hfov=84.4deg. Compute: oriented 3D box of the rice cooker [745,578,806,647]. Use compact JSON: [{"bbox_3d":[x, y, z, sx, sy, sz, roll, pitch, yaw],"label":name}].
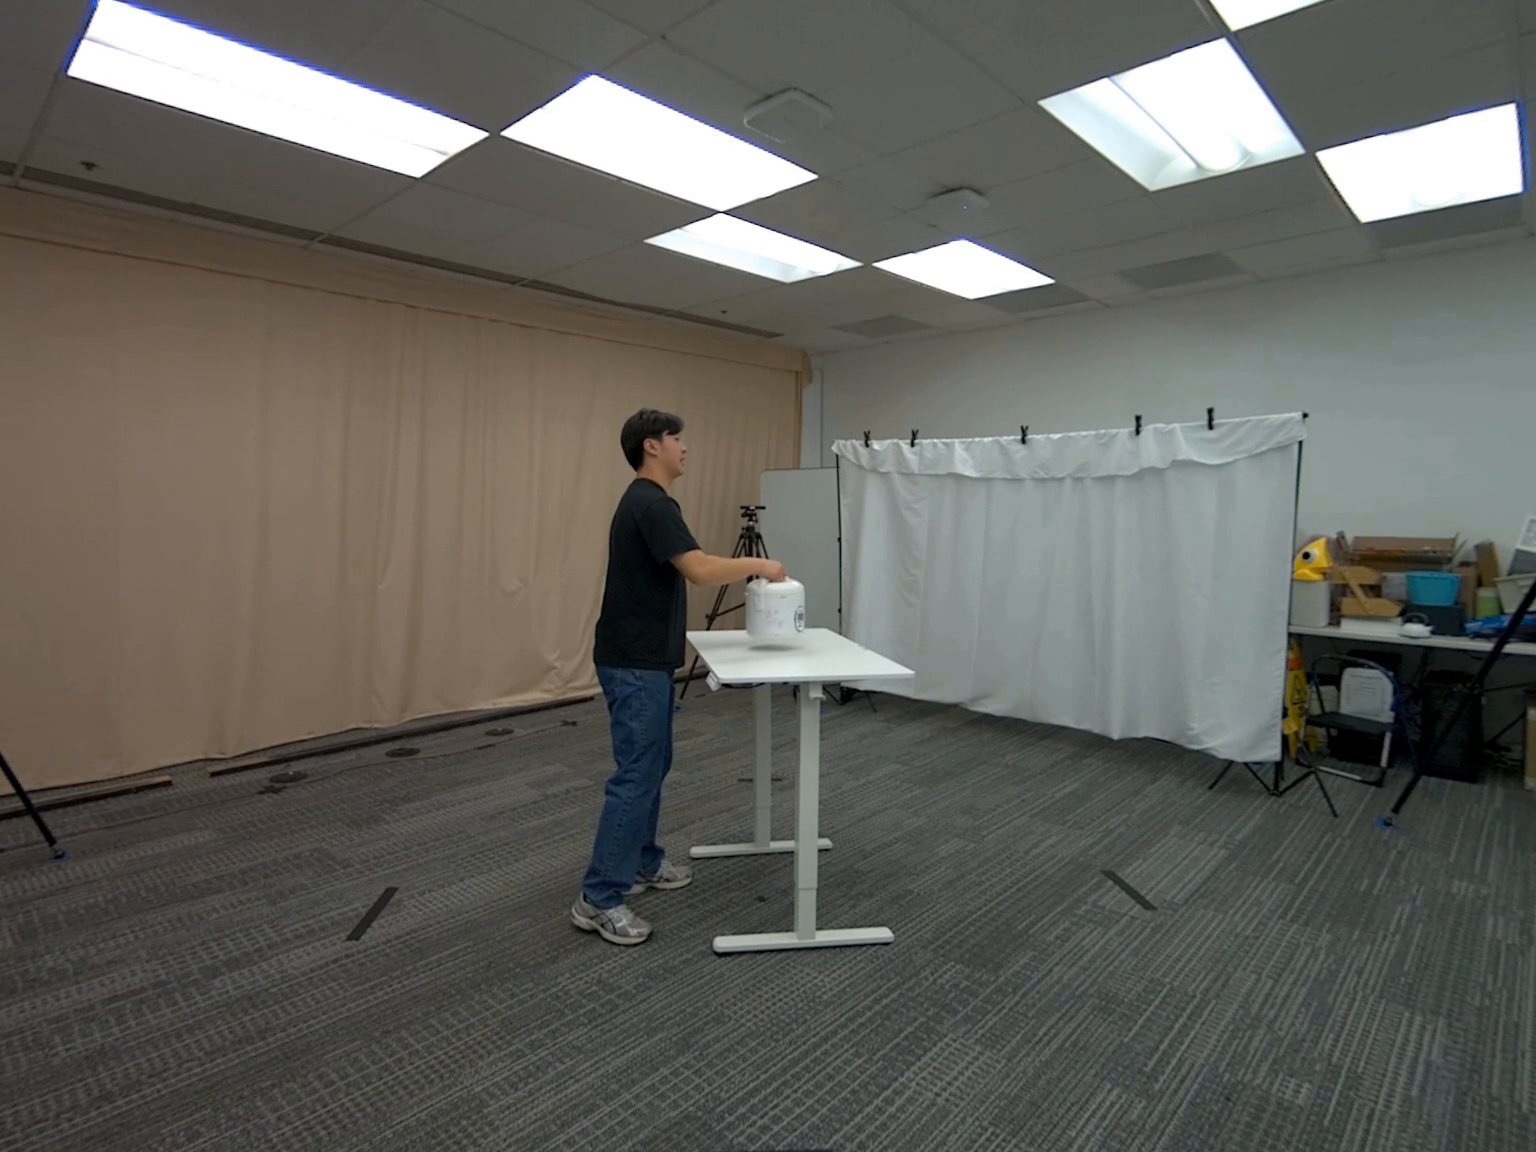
[{"bbox_3d":[0.027,0.107,2.981,0.224,0.232,0.214,1,5,38],"label":"rice cooker"}]
